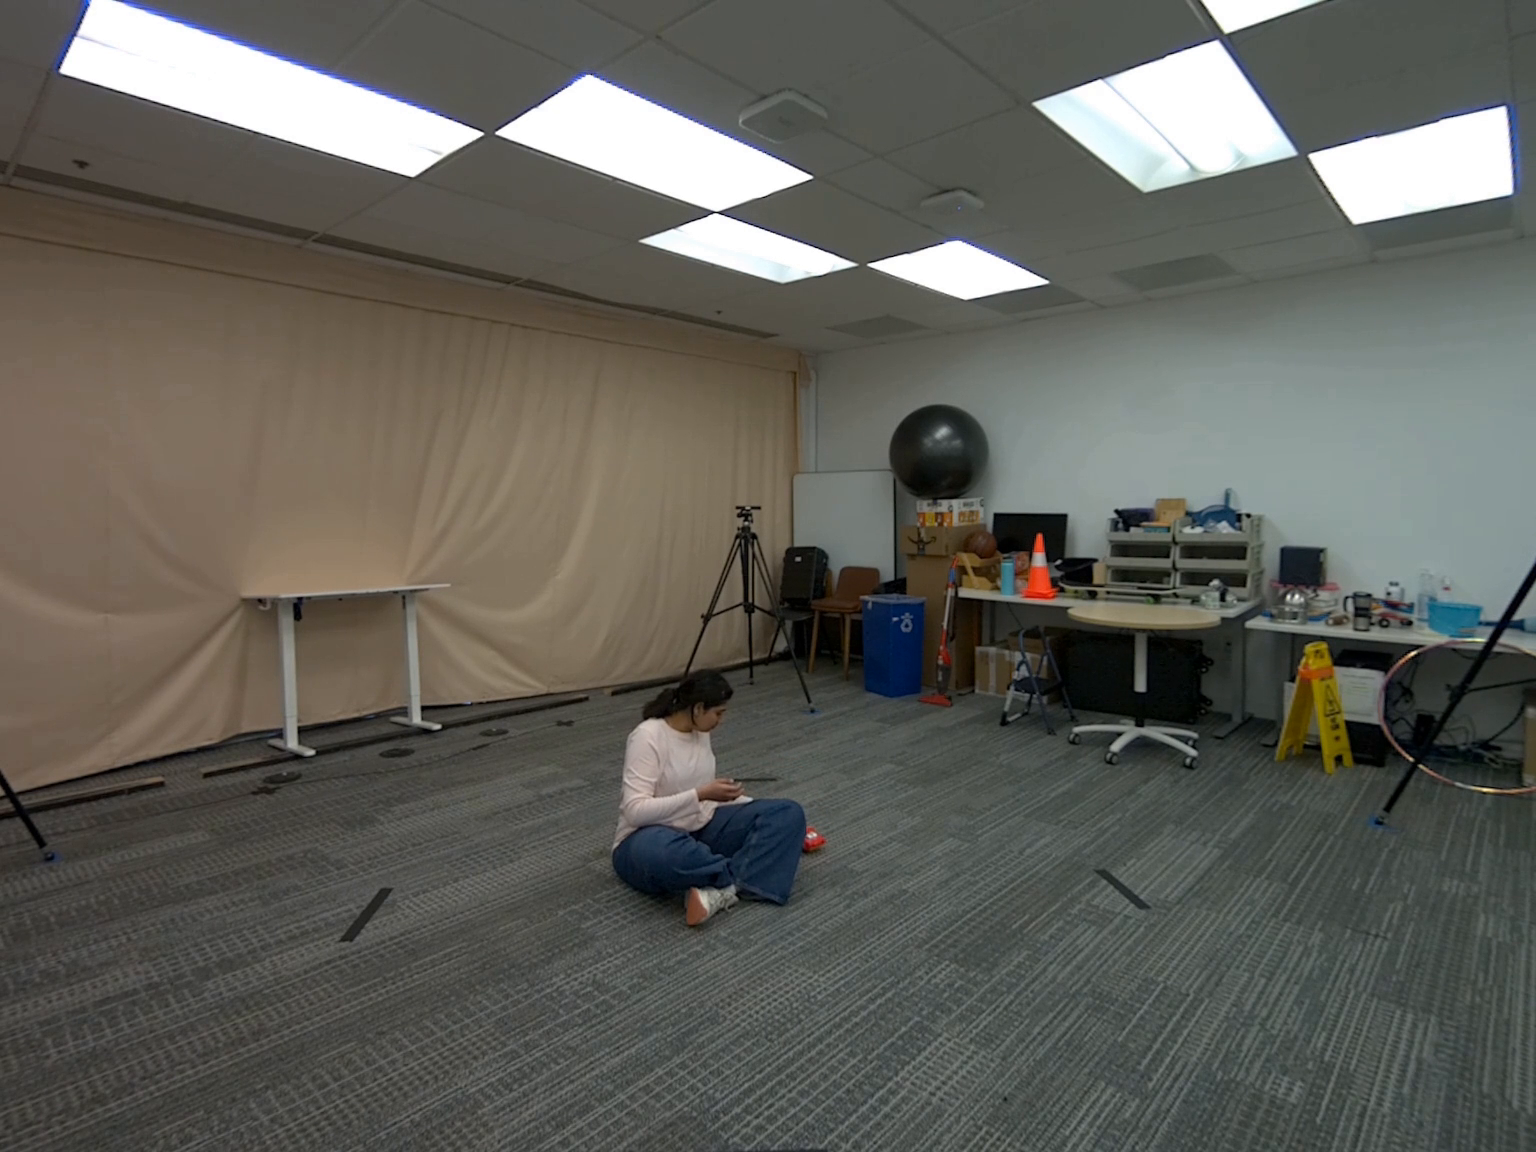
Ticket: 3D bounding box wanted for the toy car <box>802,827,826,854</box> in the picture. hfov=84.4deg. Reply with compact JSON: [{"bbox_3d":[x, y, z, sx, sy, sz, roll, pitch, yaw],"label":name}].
[{"bbox_3d":[0.134,1.070,3.450,0.126,0.083,0.262,-3,-4,-40],"label":"toy car"}]
